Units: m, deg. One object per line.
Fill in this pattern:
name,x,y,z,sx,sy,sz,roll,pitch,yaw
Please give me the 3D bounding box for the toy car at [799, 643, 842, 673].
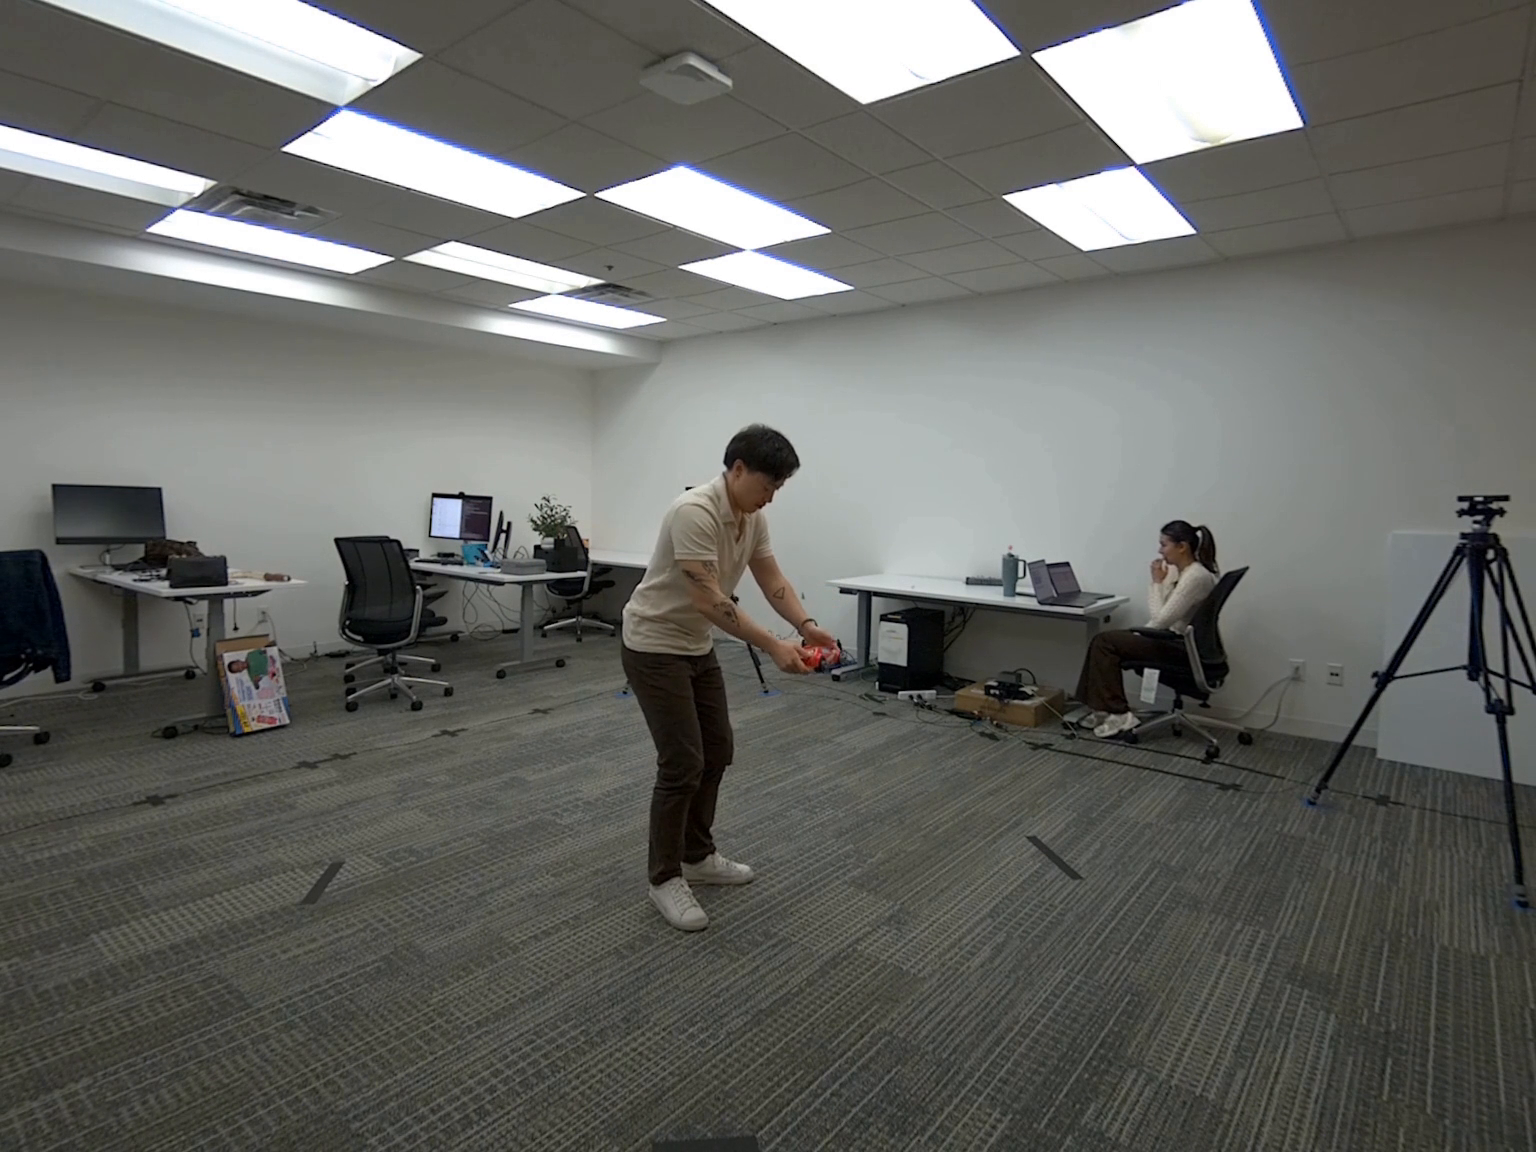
toy car,0.134,0.267,2.663,0.134,0.084,0.246,-2,-9,30
